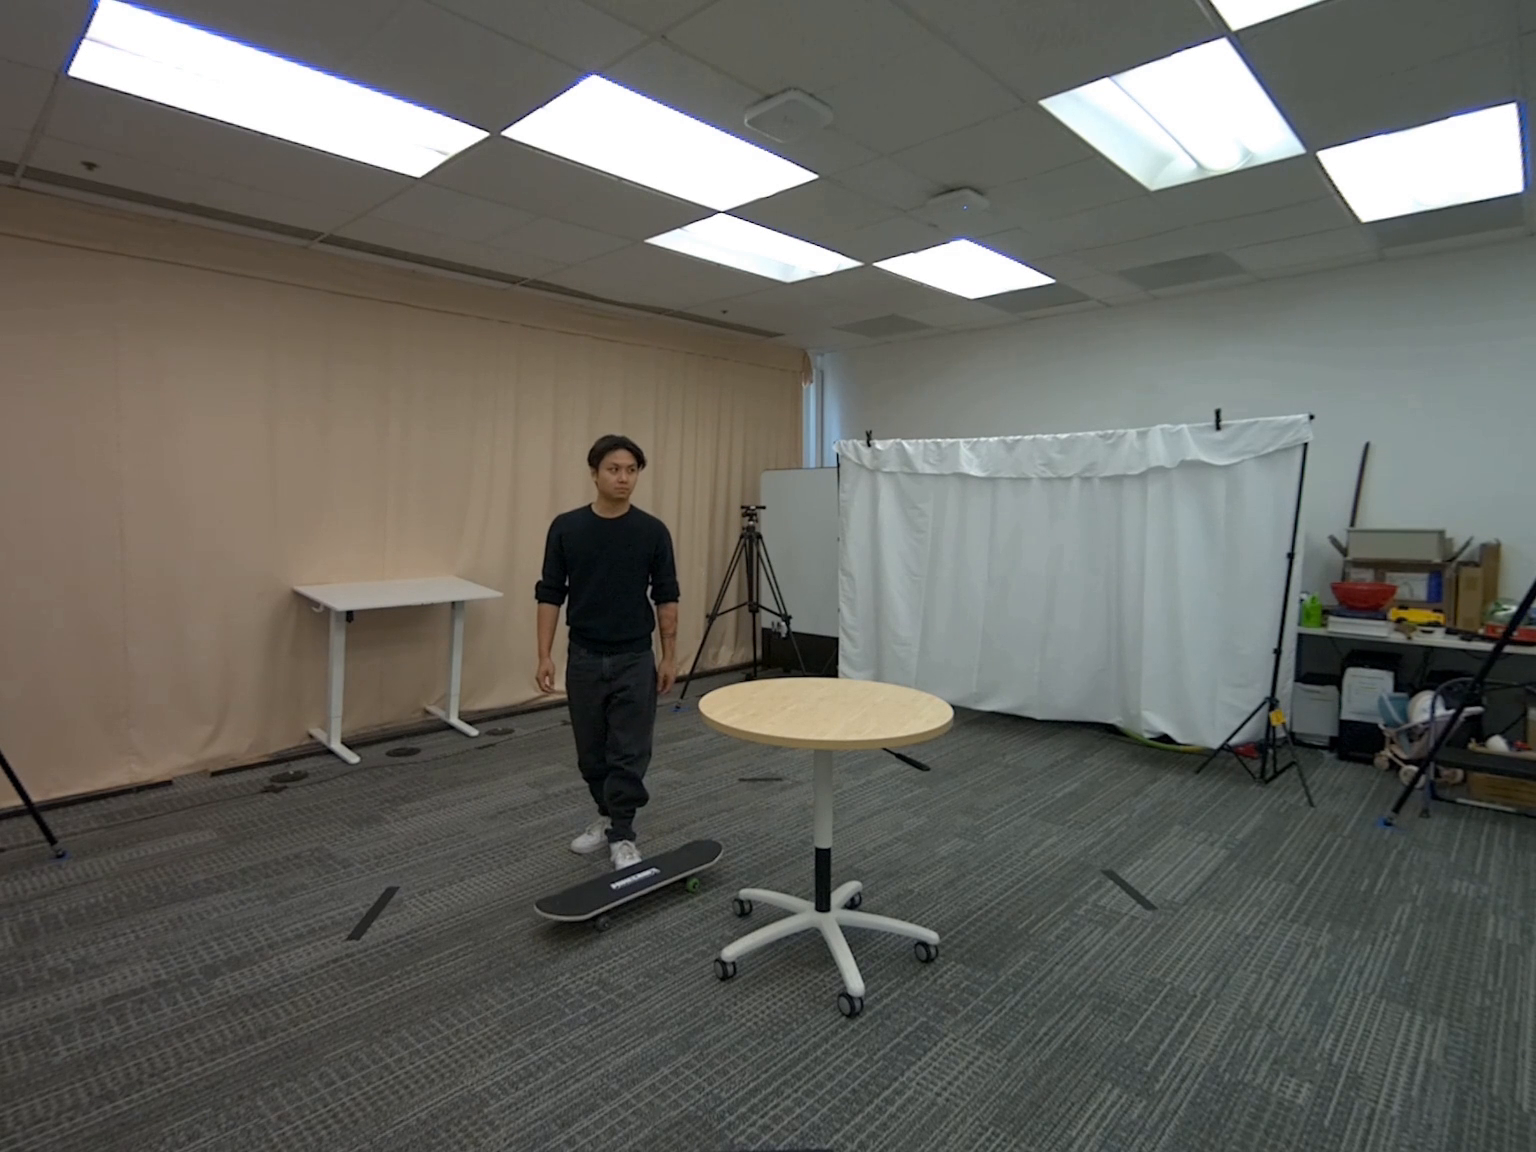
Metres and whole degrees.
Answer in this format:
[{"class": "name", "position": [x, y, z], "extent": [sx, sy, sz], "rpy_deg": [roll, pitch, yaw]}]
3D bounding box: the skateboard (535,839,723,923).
[{"class": "skateboard", "position": [-0.470, 1.095, 2.954], "extent": [0.200, 0.110, 0.761], "rpy_deg": [3, 6, 44]}]
